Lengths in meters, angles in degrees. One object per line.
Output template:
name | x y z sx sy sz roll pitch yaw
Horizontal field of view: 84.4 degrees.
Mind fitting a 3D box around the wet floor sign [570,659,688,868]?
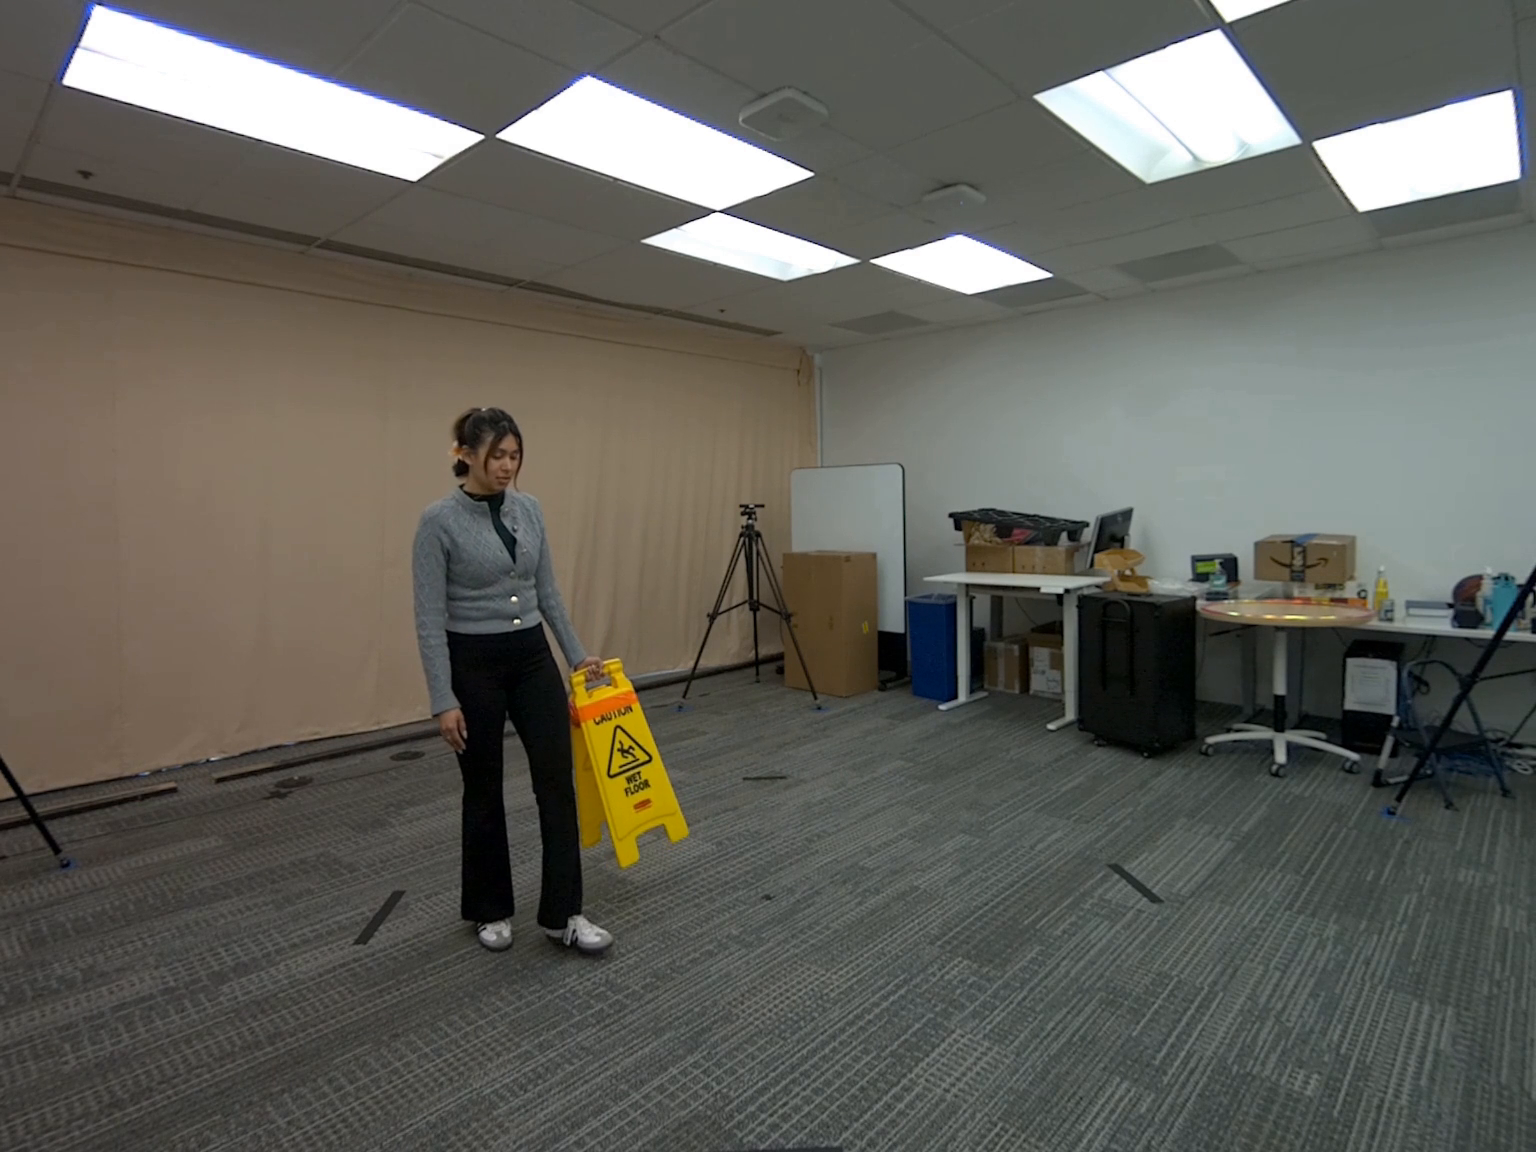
wet floor sign | -0.534 0.627 2.944 0.275 0.643 0.298 -15 6 -37
